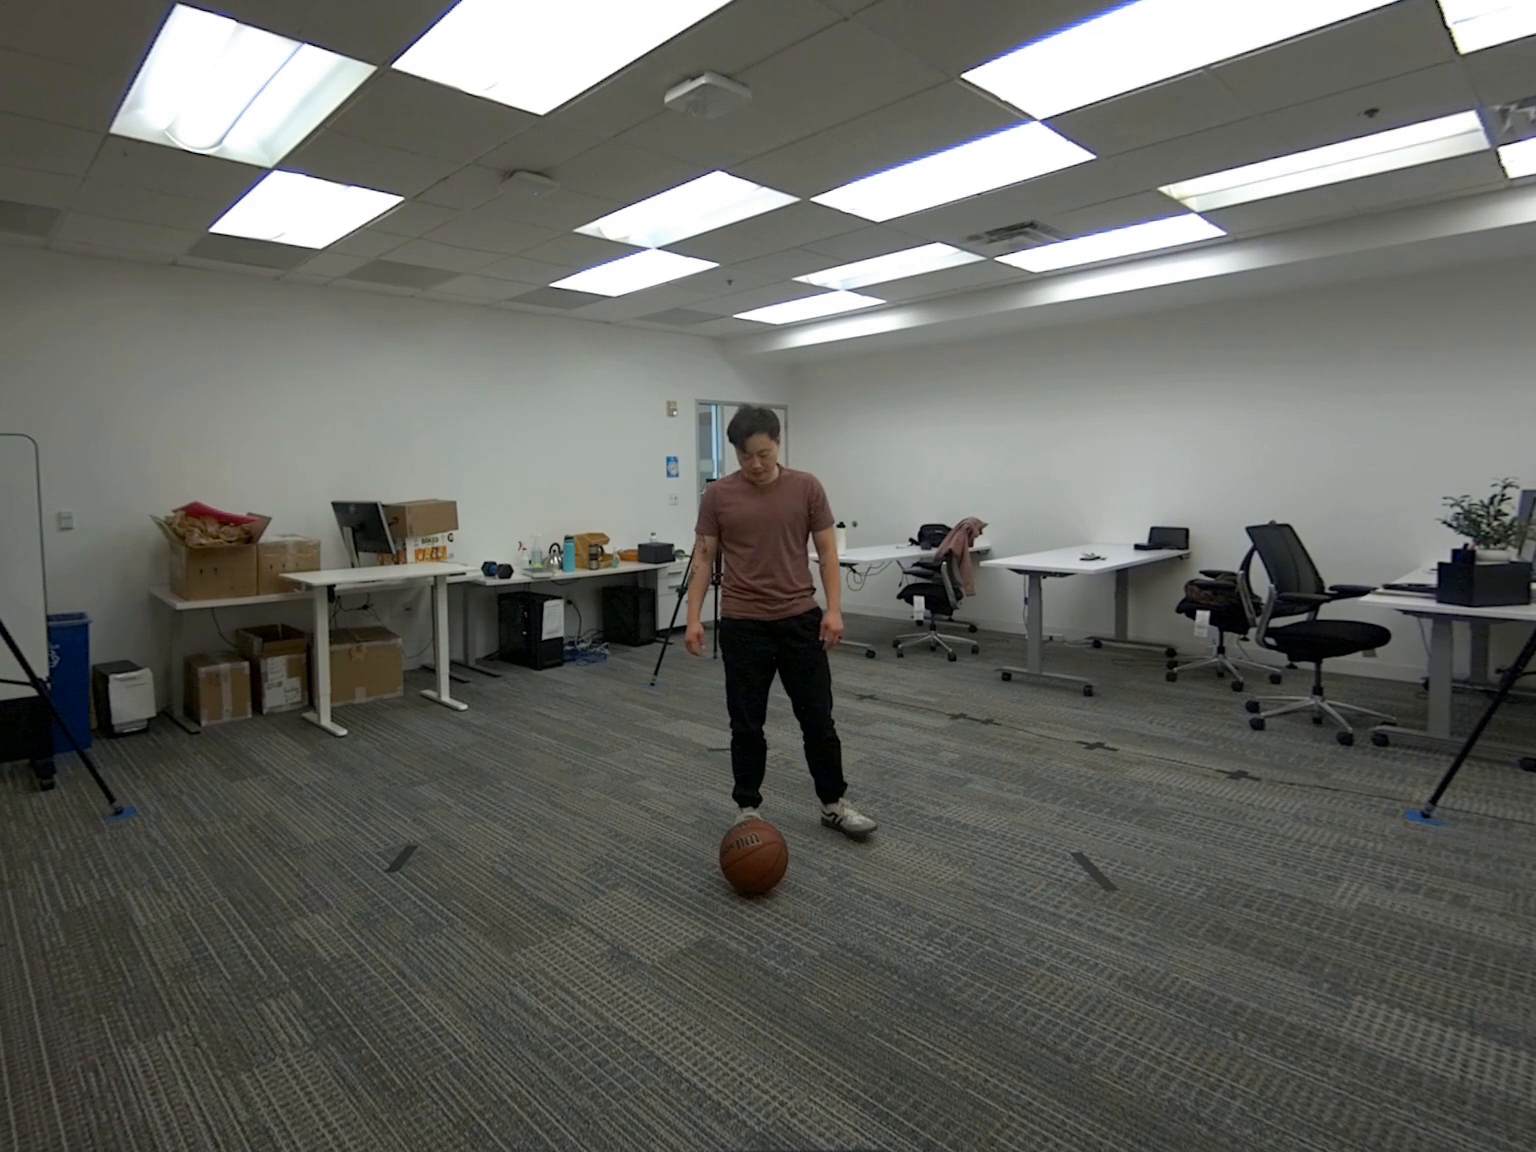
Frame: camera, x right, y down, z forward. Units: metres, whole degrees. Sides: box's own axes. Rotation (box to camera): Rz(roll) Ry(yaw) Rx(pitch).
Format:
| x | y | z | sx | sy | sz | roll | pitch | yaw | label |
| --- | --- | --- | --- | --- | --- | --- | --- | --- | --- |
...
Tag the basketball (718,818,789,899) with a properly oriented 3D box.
| x | y | z | sx | sy | sz | roll | pitch | yaw | label |
| --- | --- | --- | --- | --- | --- | --- | --- | --- | --- |
| -0.049 | 0.951 | 2.901 | 0.236 | 0.235 | 0.237 | -1 | 5 | -2 | basketball |
